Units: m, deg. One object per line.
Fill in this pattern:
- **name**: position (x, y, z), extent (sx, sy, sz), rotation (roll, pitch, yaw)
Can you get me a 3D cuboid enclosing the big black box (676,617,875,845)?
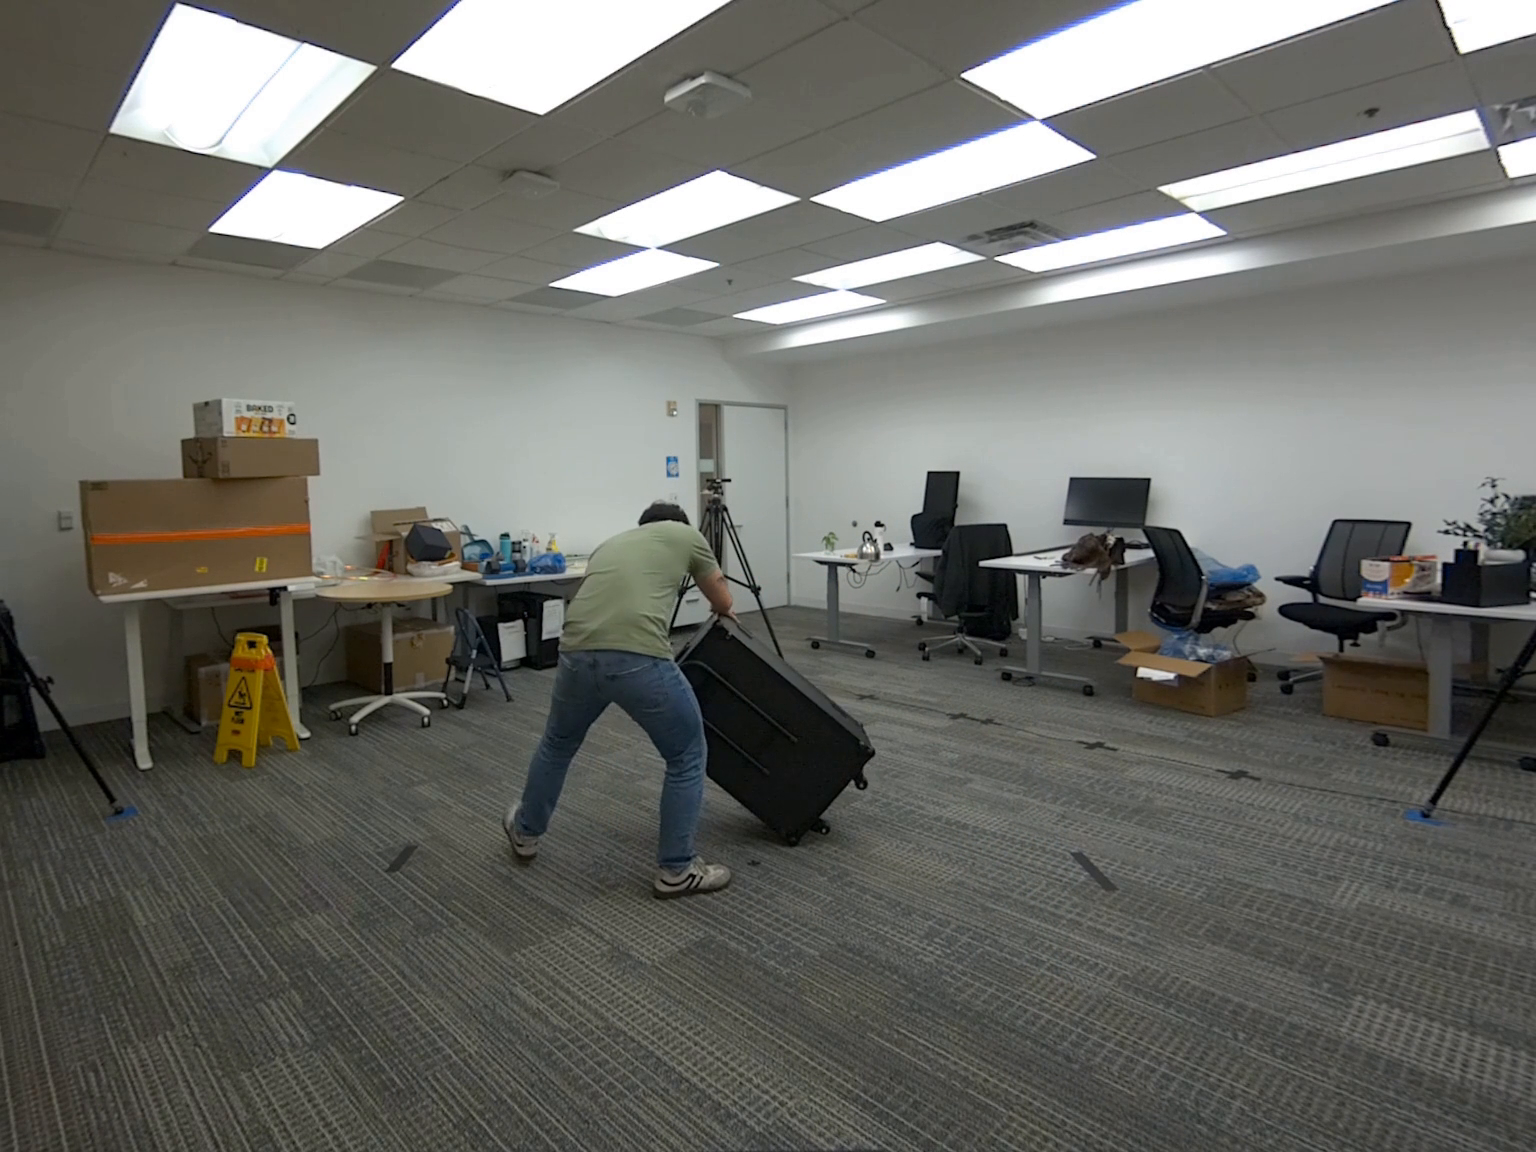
- **big black box**: position (-0.027, 0.602, 3.375), extent (0.860, 0.521, 0.397), rotation (39, 4, -2)
